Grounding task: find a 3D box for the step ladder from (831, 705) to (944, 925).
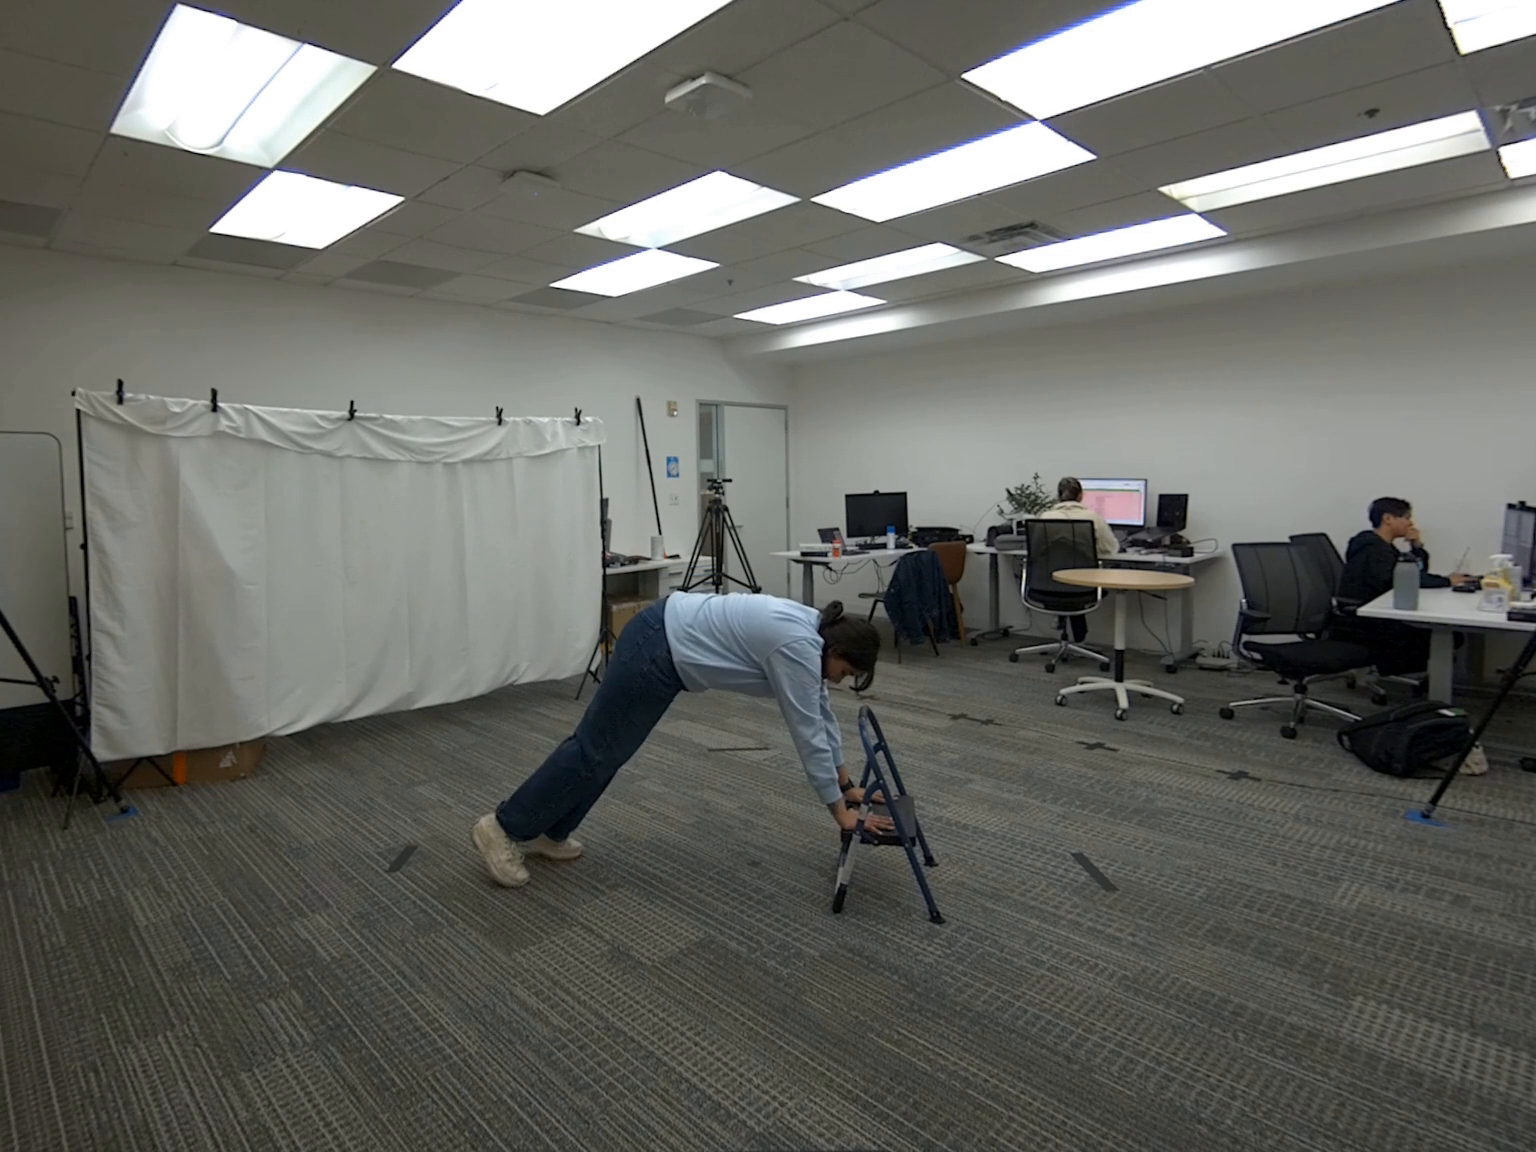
[{"bbox_3d":[0.401,0.756,2.888,0.353,0.604,0.428,0,4,9],"label":"step ladder"}]
